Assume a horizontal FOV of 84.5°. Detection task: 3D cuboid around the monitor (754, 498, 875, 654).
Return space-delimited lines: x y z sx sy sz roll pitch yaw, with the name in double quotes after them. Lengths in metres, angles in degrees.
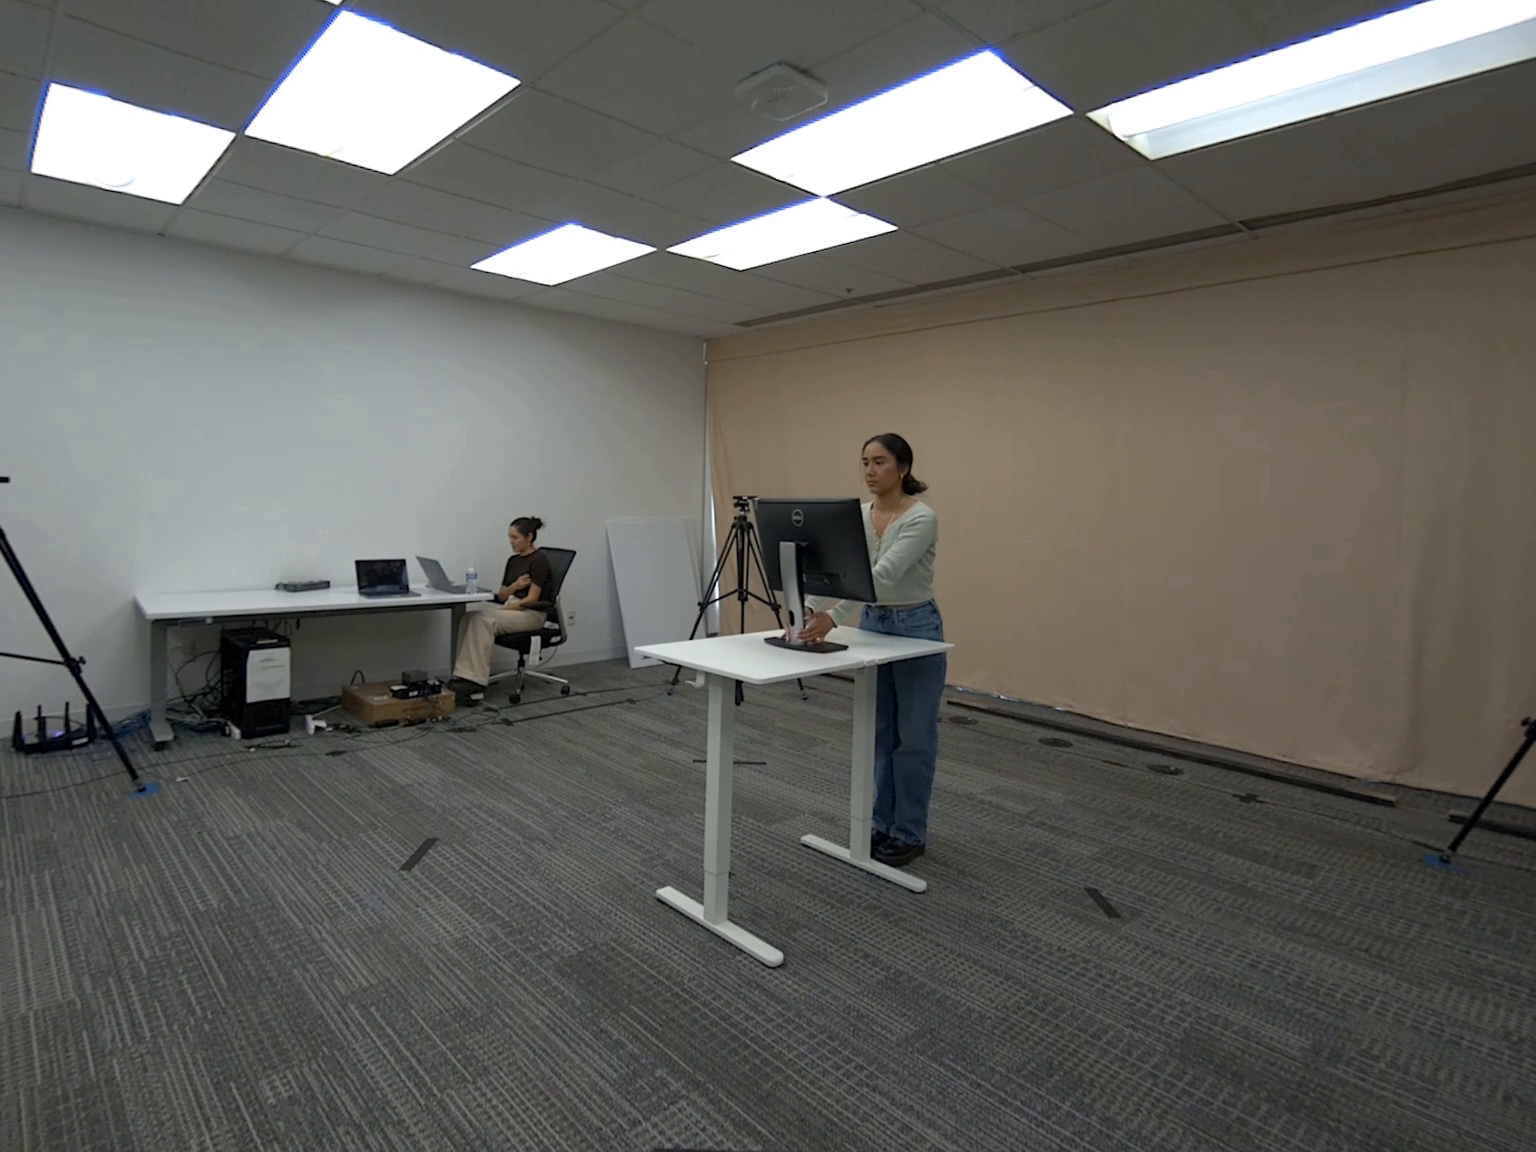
0.108 -0.007 2.900 0.183 0.521 0.553 -2 5 -40 "monitor"
